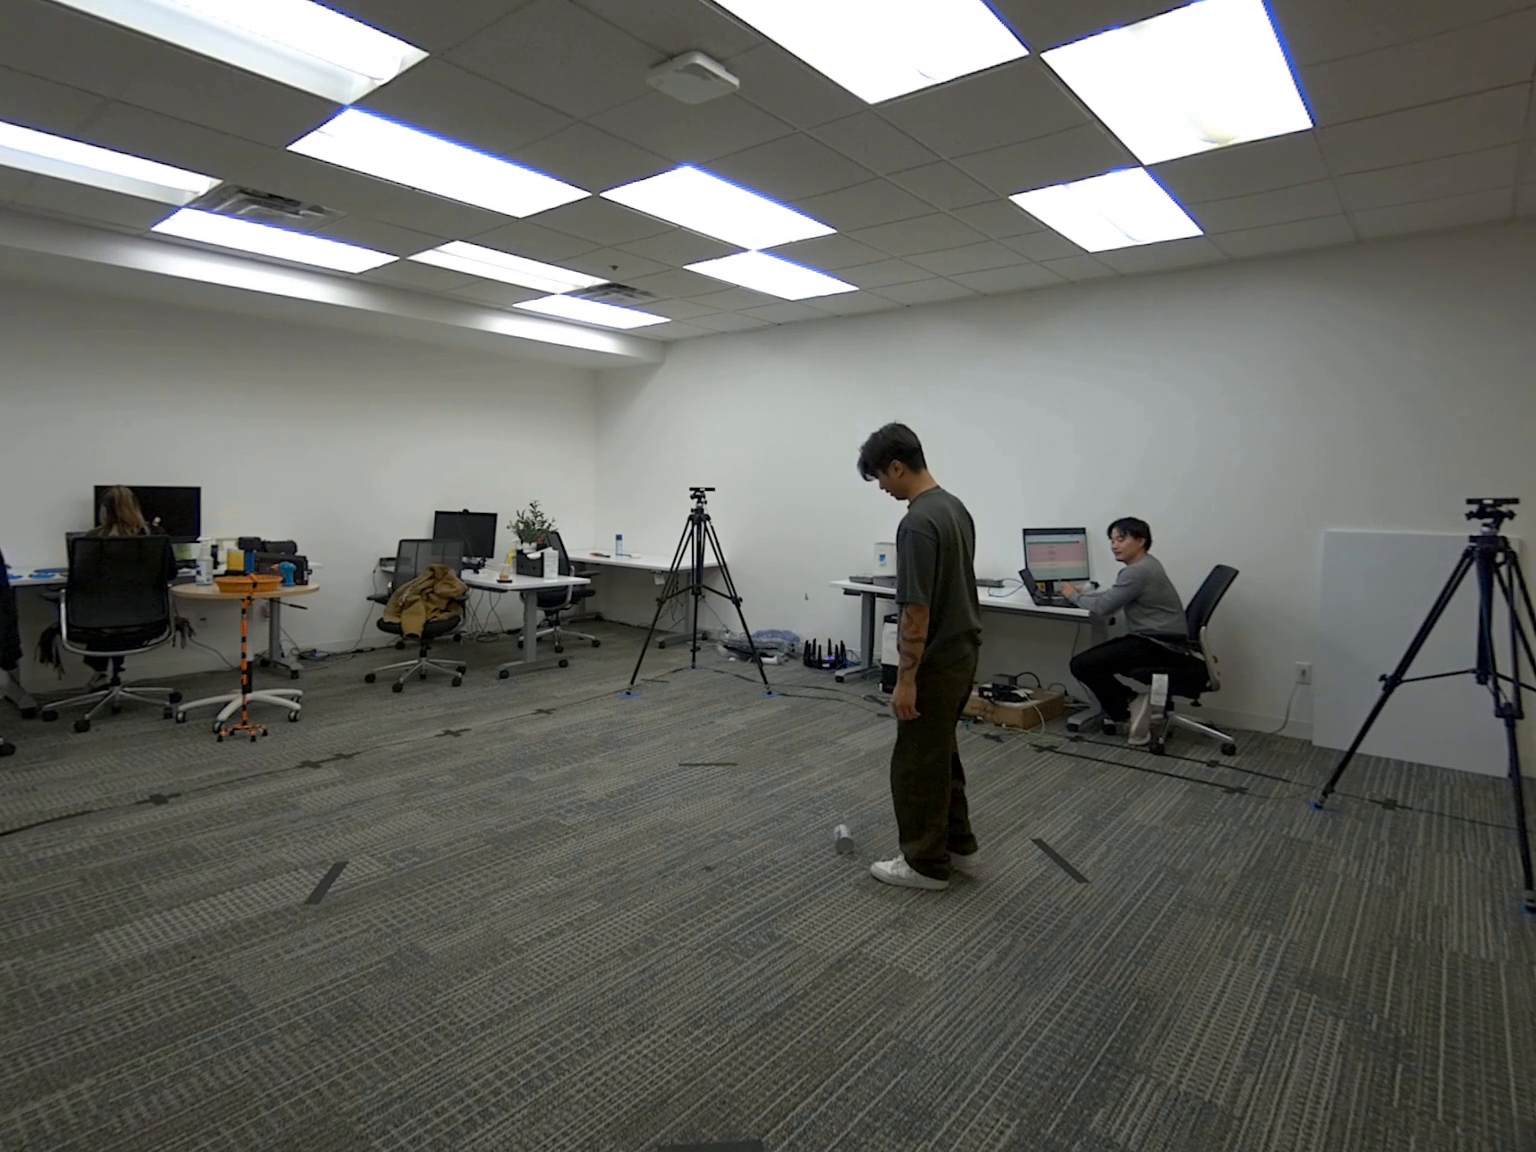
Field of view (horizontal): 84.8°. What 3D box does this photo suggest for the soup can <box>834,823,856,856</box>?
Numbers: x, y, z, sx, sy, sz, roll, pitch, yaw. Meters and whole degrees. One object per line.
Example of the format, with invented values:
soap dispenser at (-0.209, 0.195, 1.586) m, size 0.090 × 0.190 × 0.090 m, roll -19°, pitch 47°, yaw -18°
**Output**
soup can at (0.292, 1.020, 3.326) m, size 0.067 × 0.066 × 0.122 m, roll 1°, pitch 10°, yaw 0°
